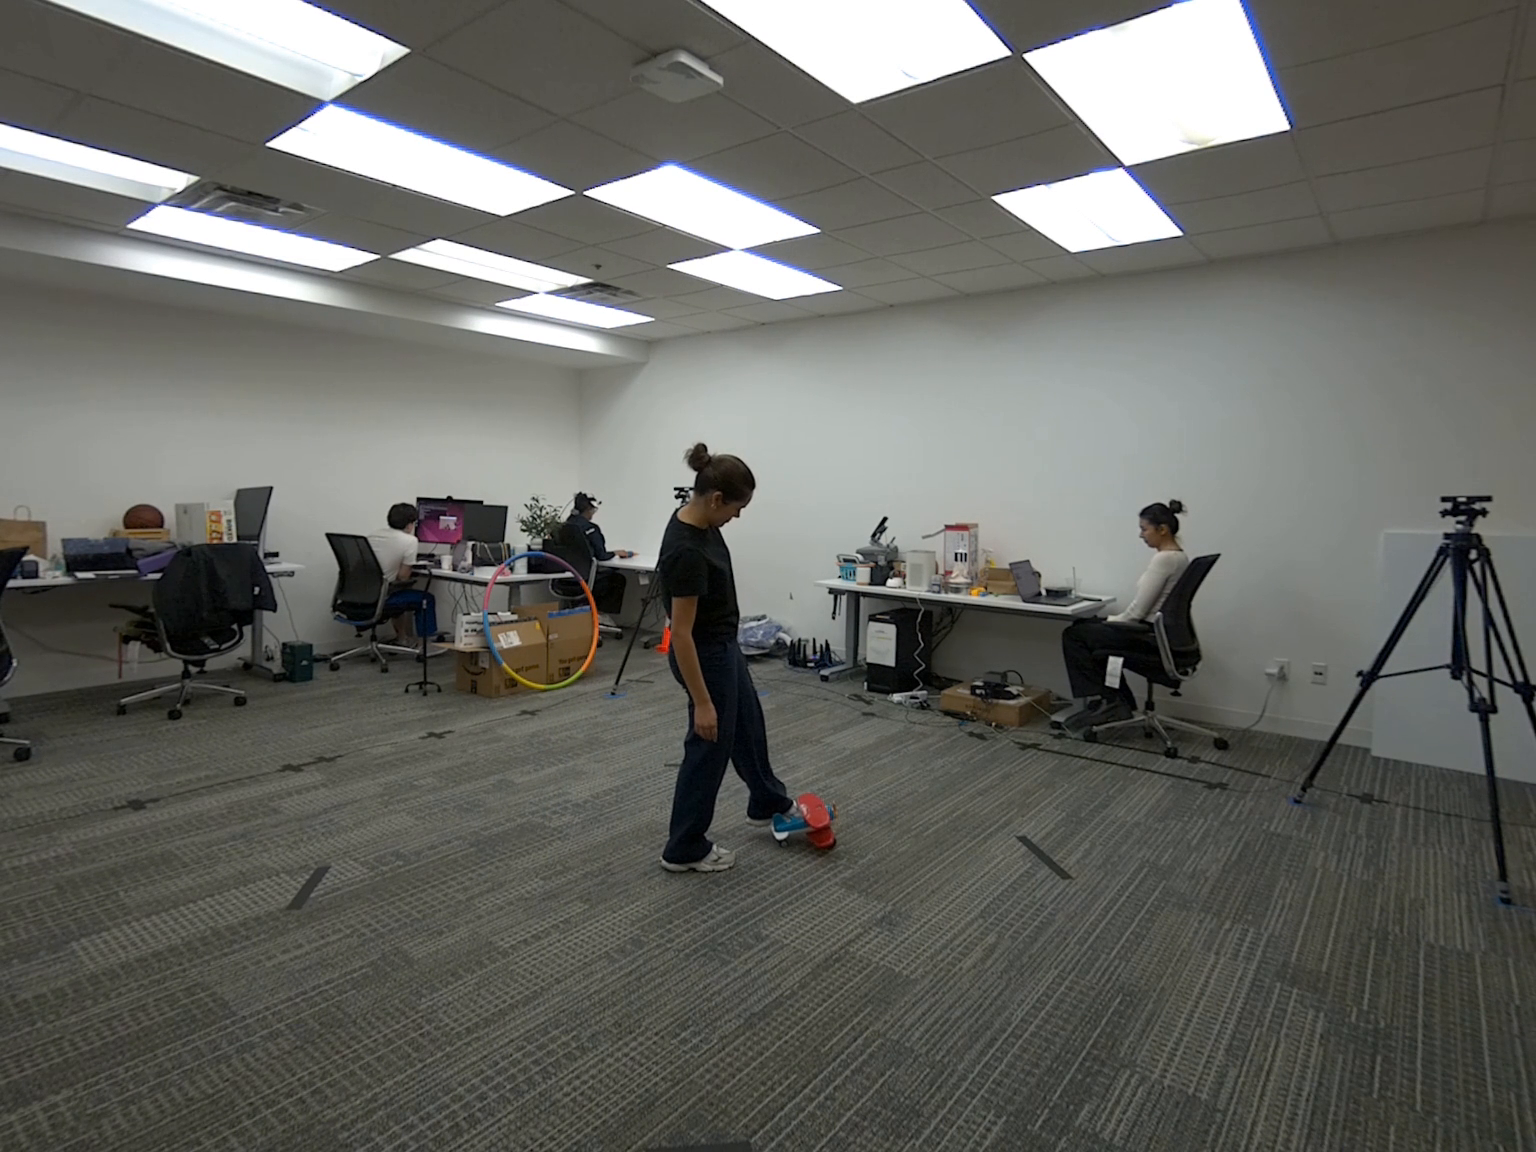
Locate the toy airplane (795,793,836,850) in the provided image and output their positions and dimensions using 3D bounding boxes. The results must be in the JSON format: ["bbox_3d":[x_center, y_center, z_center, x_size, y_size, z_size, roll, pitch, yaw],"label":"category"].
[{"bbox_3d":[0.173,0.980,3.324,0.252,0.155,0.261,-5,14,-38],"label":"toy airplane"}]
